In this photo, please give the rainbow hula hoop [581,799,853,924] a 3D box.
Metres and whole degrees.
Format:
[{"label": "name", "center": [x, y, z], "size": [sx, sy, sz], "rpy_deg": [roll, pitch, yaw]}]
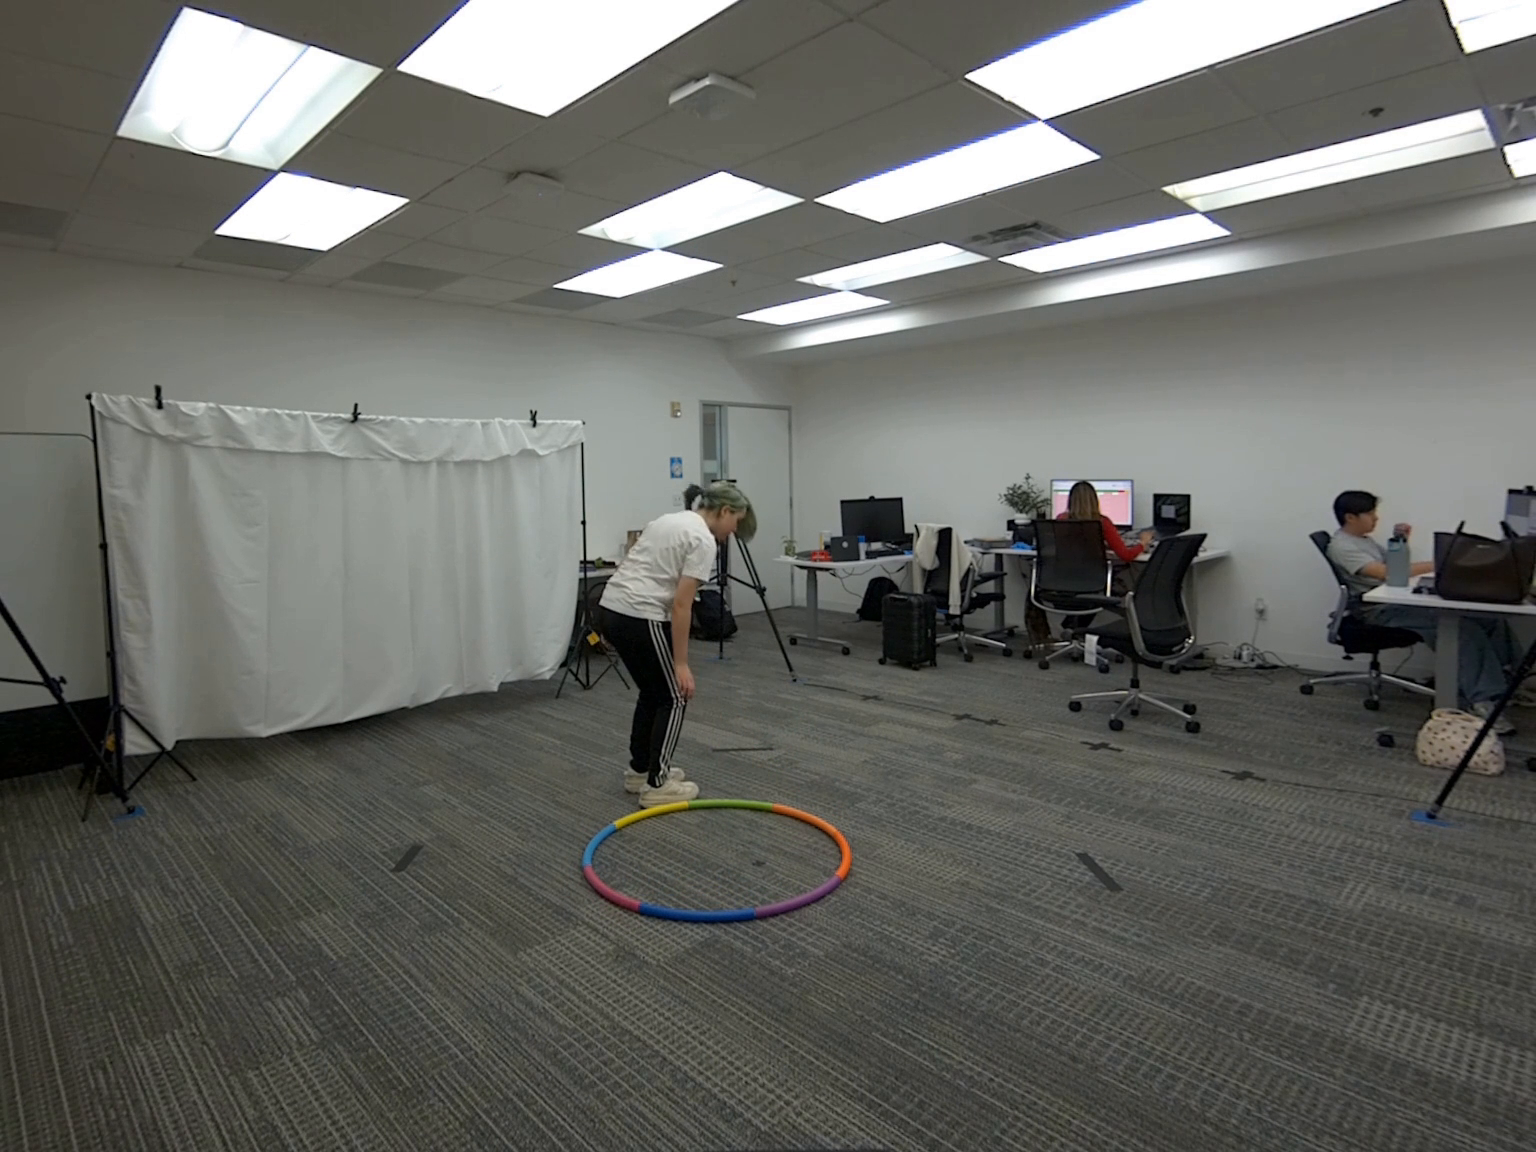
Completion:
[{"label": "rainbow hula hoop", "center": [-0.193, 1.009, 3.179], "size": [0.978, 0.035, 0.984], "rpy_deg": [-1, 7, -2]}]
